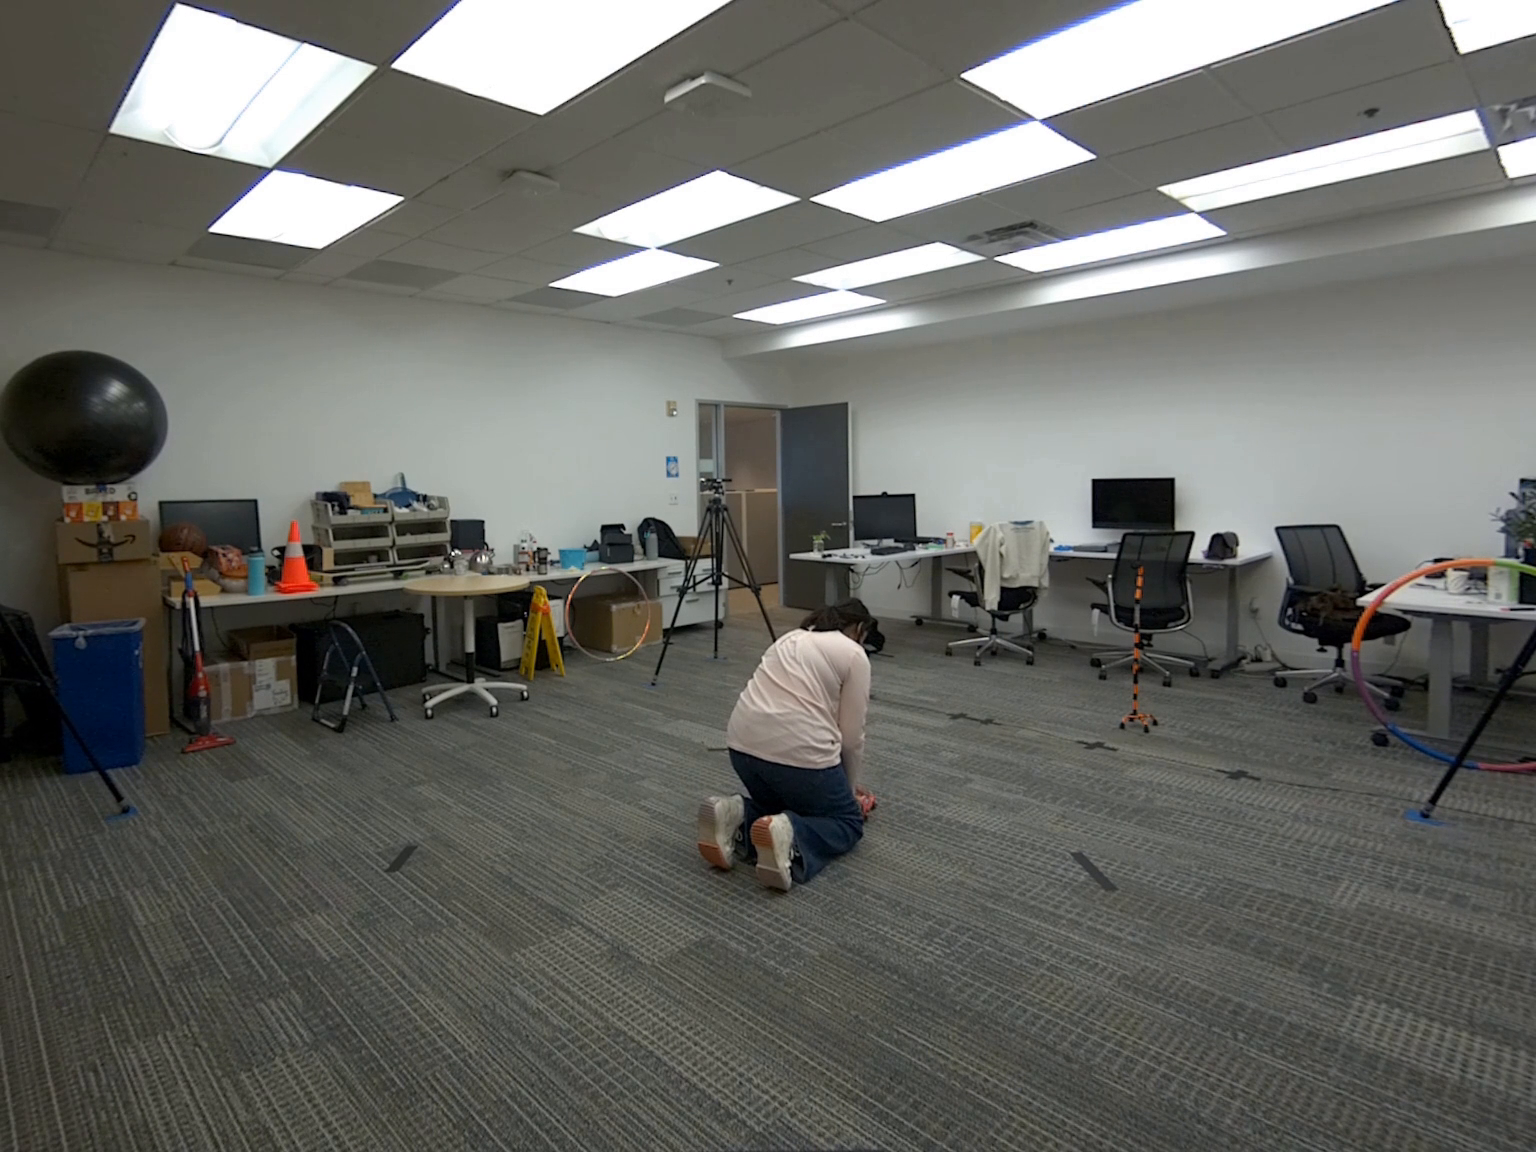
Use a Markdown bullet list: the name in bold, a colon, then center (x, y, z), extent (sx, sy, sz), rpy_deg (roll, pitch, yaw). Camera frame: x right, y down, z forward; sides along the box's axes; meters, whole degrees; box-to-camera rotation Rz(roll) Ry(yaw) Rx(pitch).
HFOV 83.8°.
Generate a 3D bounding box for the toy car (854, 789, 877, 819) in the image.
- **toy car**: center (0.373, 0.957, 3.545), extent (0.133, 0.083, 0.249), rpy_deg (3, -2, 20)
